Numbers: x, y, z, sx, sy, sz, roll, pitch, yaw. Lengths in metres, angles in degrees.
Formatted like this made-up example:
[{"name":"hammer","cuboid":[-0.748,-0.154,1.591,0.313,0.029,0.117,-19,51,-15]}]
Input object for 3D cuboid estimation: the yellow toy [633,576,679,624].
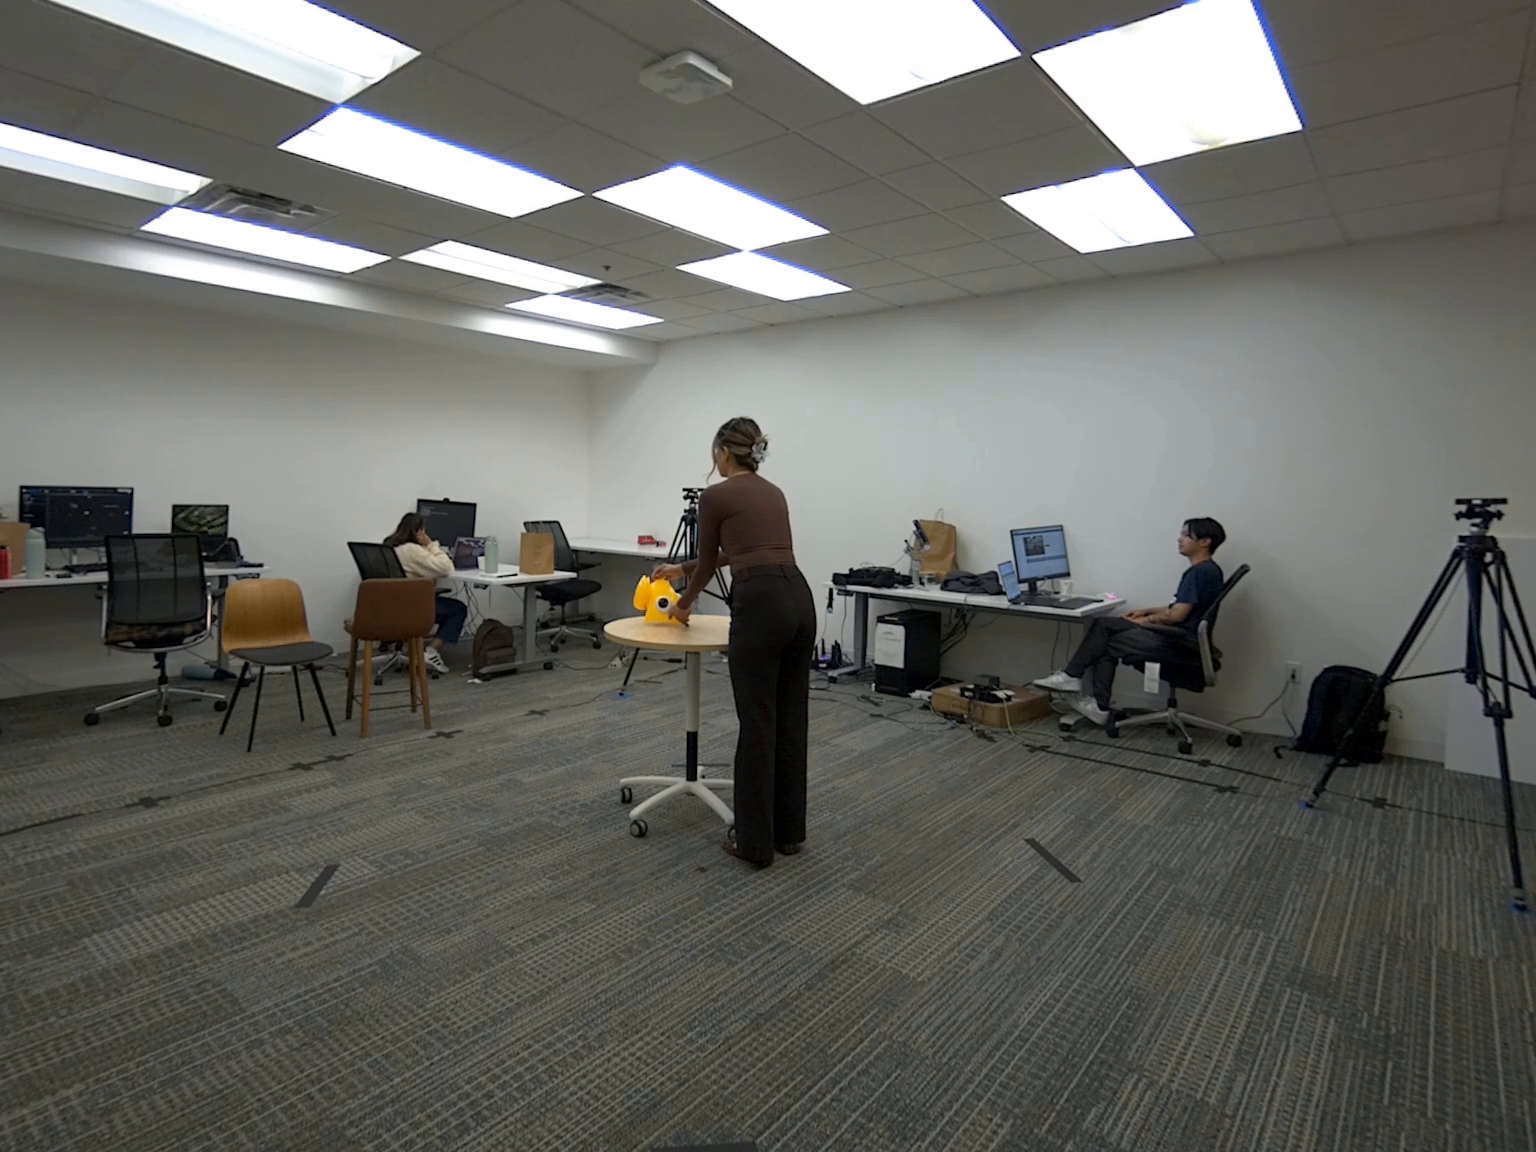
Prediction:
[{"name":"yellow toy","cuboid":[-0.450,0.112,3.710,0.238,0.191,0.200,22,15,26]}]
